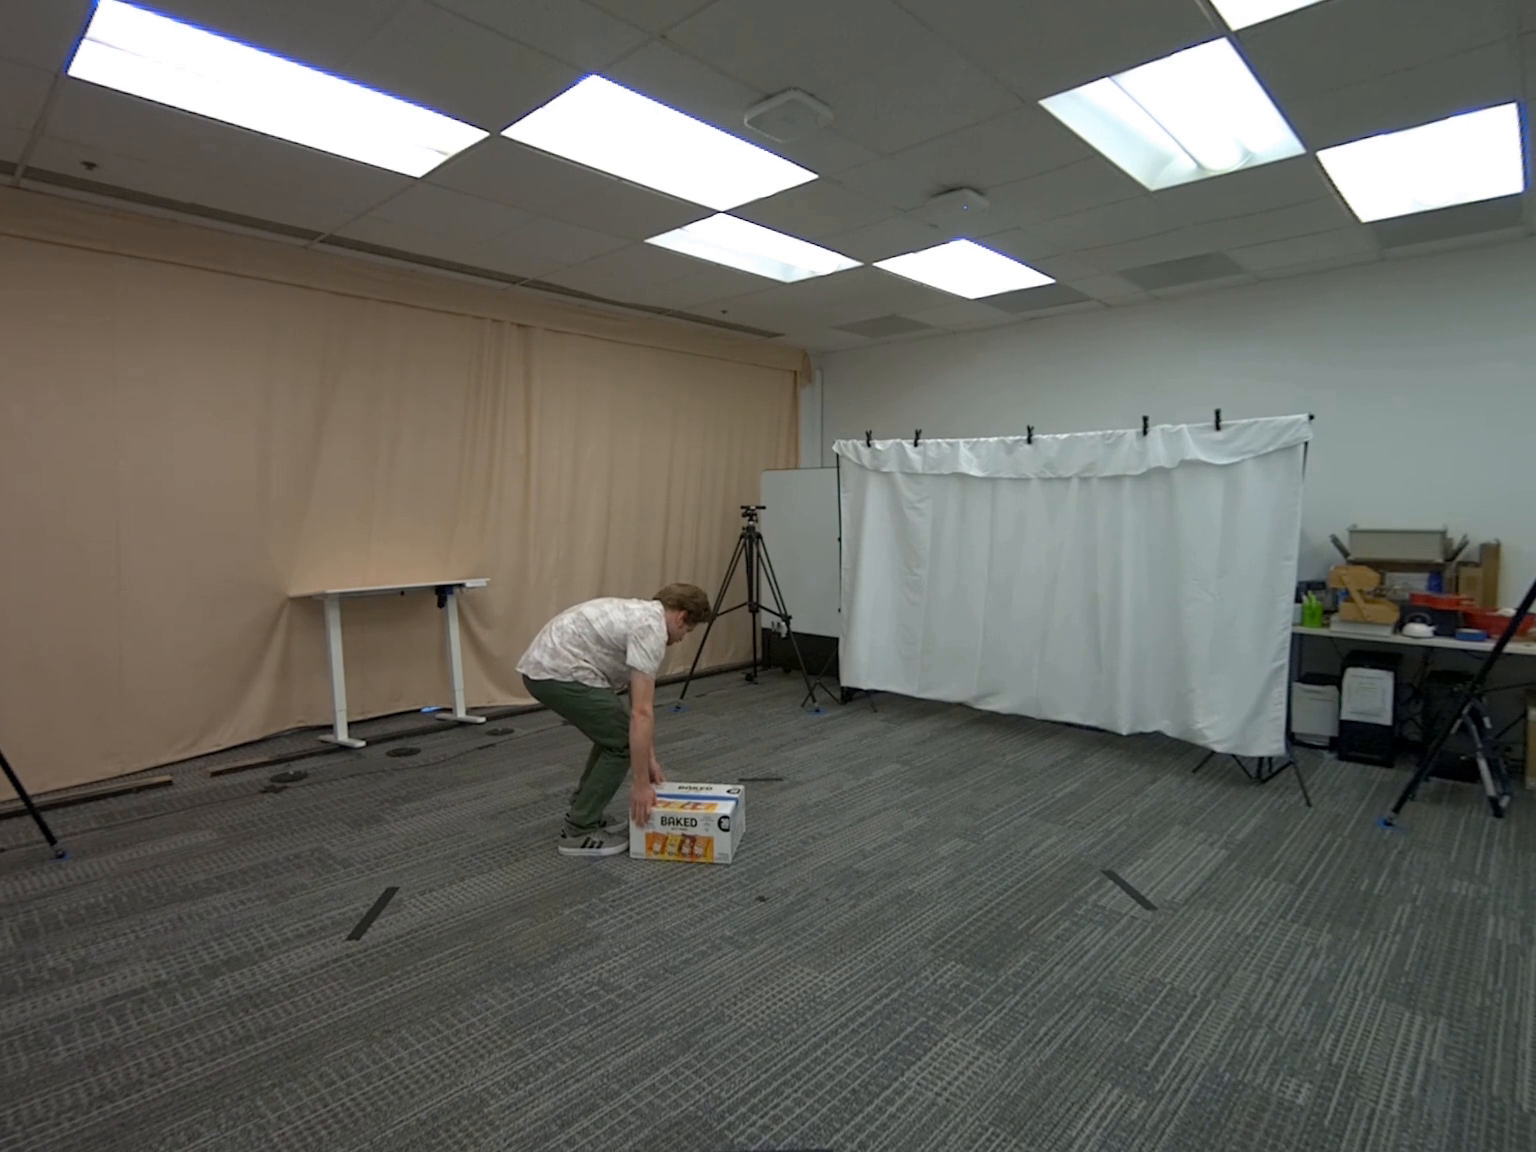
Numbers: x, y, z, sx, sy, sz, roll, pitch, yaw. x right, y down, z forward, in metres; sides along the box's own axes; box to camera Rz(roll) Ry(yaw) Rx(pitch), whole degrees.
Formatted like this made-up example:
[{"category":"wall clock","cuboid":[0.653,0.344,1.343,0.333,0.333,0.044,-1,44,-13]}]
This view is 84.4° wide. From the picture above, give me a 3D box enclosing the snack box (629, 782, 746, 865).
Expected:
[{"category":"snack box","cuboid":[-0.323,1.001,3.452,0.410,0.205,0.337,0,4,10]}]
